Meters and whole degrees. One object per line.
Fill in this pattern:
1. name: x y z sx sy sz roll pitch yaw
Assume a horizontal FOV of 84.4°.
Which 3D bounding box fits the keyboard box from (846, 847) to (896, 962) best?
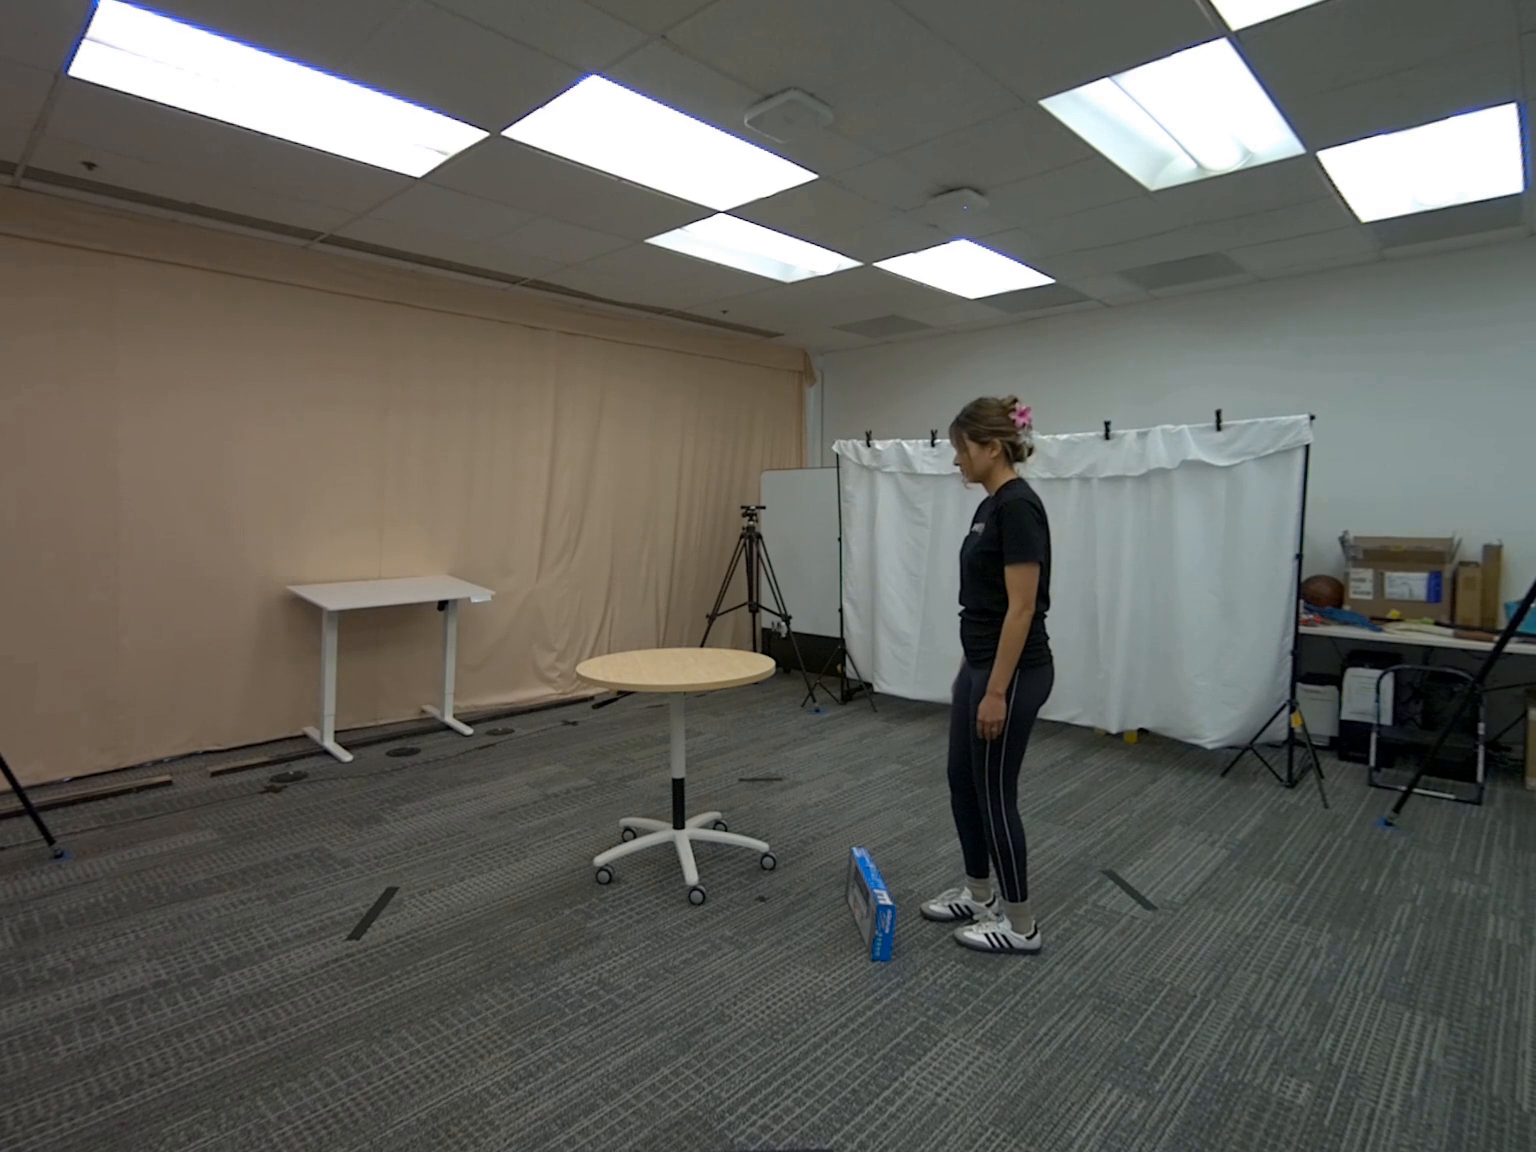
1. keyboard box: 0.336 1.072 2.783 0.059 0.176 0.440 5 4 -7
